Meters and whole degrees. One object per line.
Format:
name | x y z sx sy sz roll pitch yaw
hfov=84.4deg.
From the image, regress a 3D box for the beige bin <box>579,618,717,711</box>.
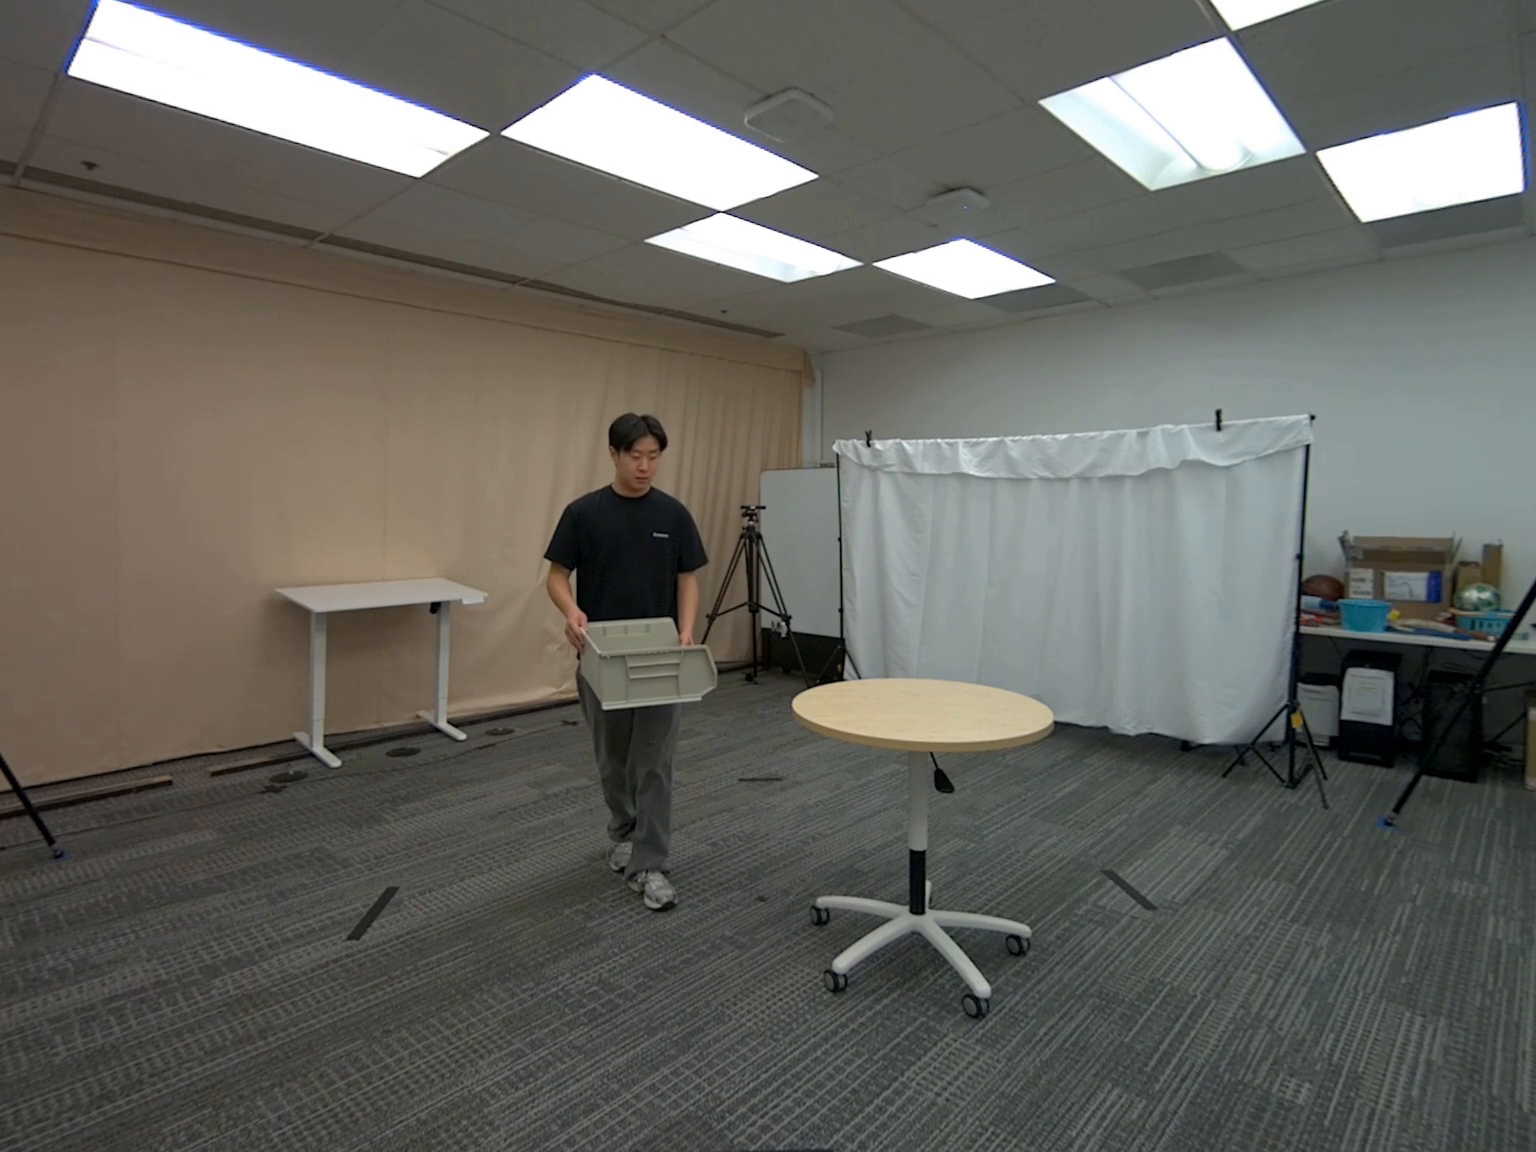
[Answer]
beige bin | -0.405 0.272 2.773 0.370 0.188 0.433 -4 9 -21
